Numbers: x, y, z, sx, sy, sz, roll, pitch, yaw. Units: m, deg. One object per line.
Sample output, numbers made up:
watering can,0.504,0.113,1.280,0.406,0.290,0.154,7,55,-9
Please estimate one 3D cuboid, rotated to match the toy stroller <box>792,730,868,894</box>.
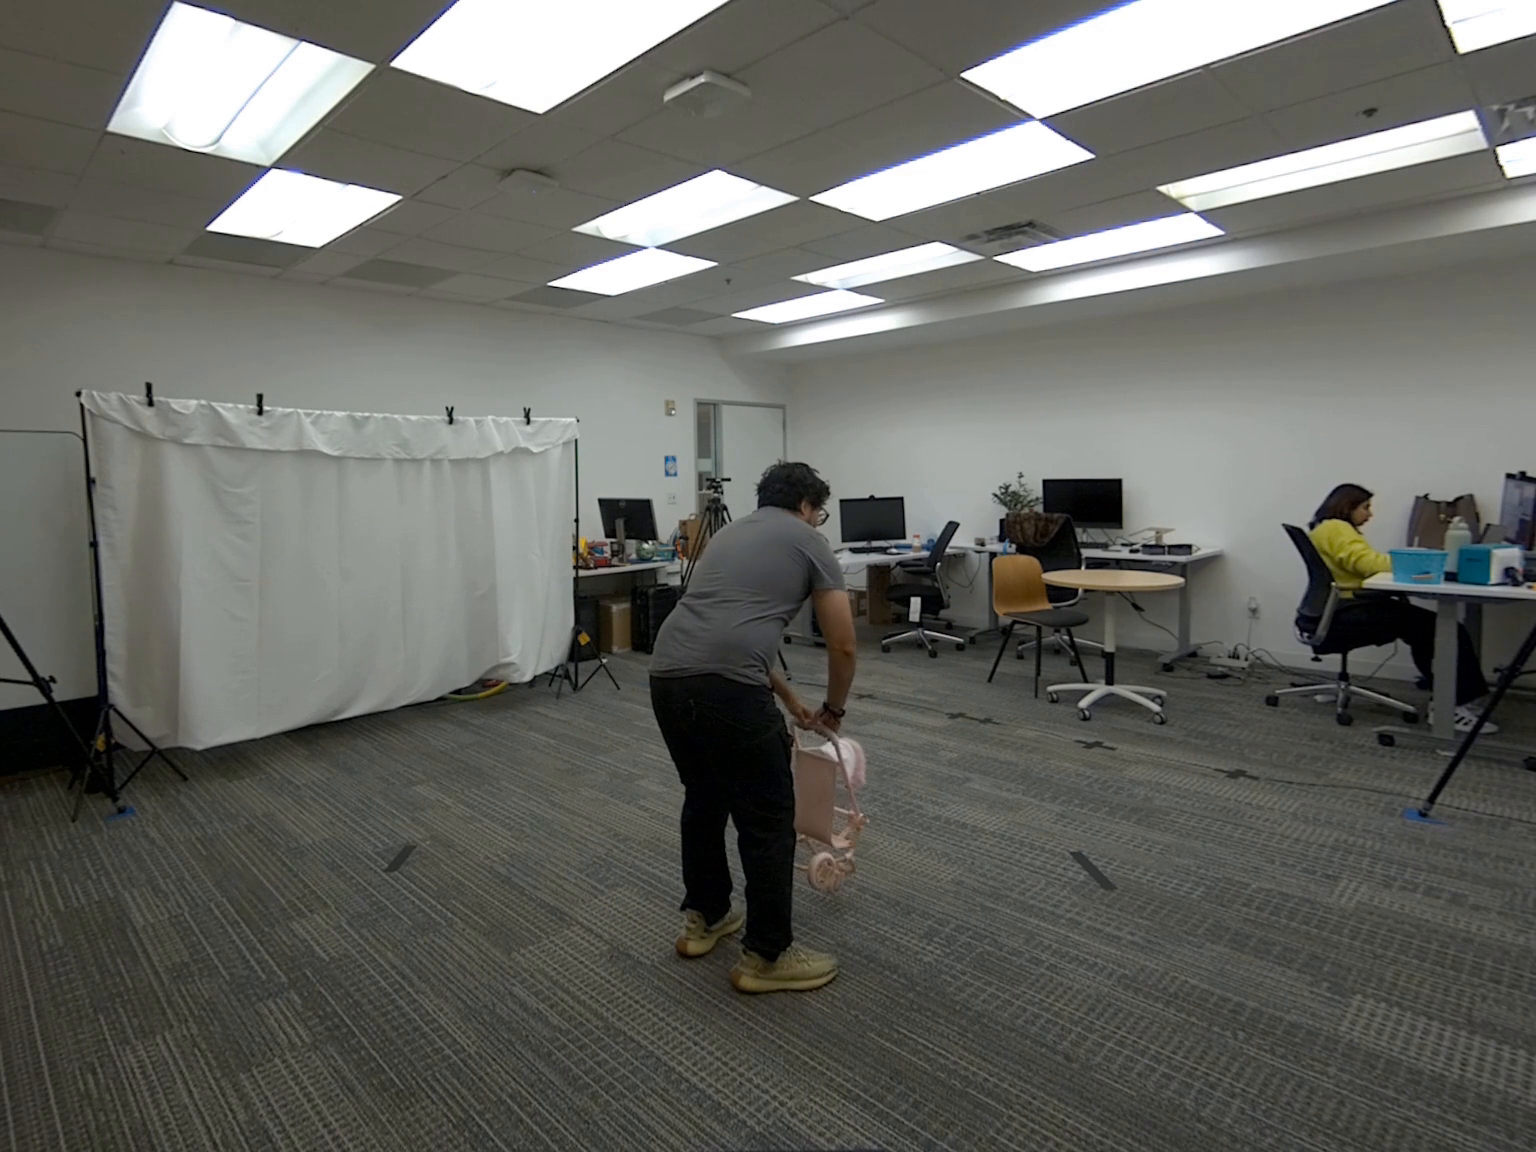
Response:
toy stroller,0.192,0.761,2.763,0.329,0.538,0.290,19,-10,-38
